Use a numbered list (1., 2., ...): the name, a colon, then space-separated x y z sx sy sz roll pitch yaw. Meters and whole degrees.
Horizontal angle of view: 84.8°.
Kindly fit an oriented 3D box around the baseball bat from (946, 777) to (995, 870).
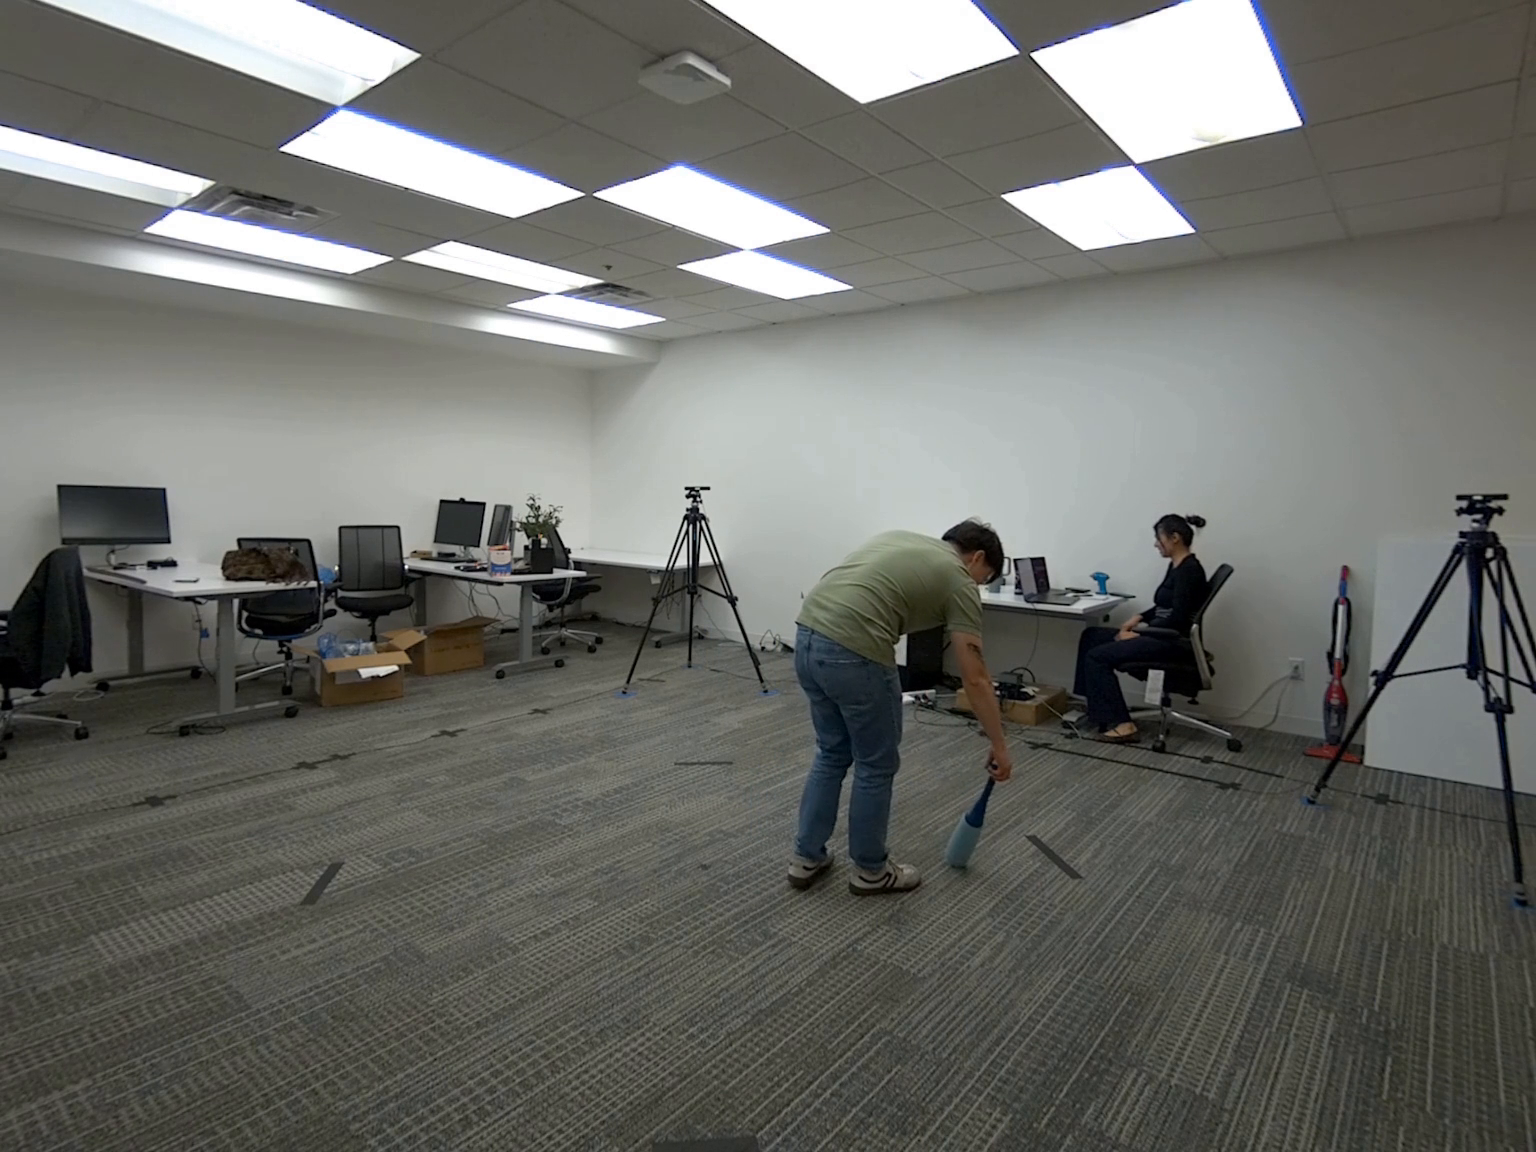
1. baseball bat: 0.735 0.859 3.027 0.088 0.530 0.091 5 38 -6
